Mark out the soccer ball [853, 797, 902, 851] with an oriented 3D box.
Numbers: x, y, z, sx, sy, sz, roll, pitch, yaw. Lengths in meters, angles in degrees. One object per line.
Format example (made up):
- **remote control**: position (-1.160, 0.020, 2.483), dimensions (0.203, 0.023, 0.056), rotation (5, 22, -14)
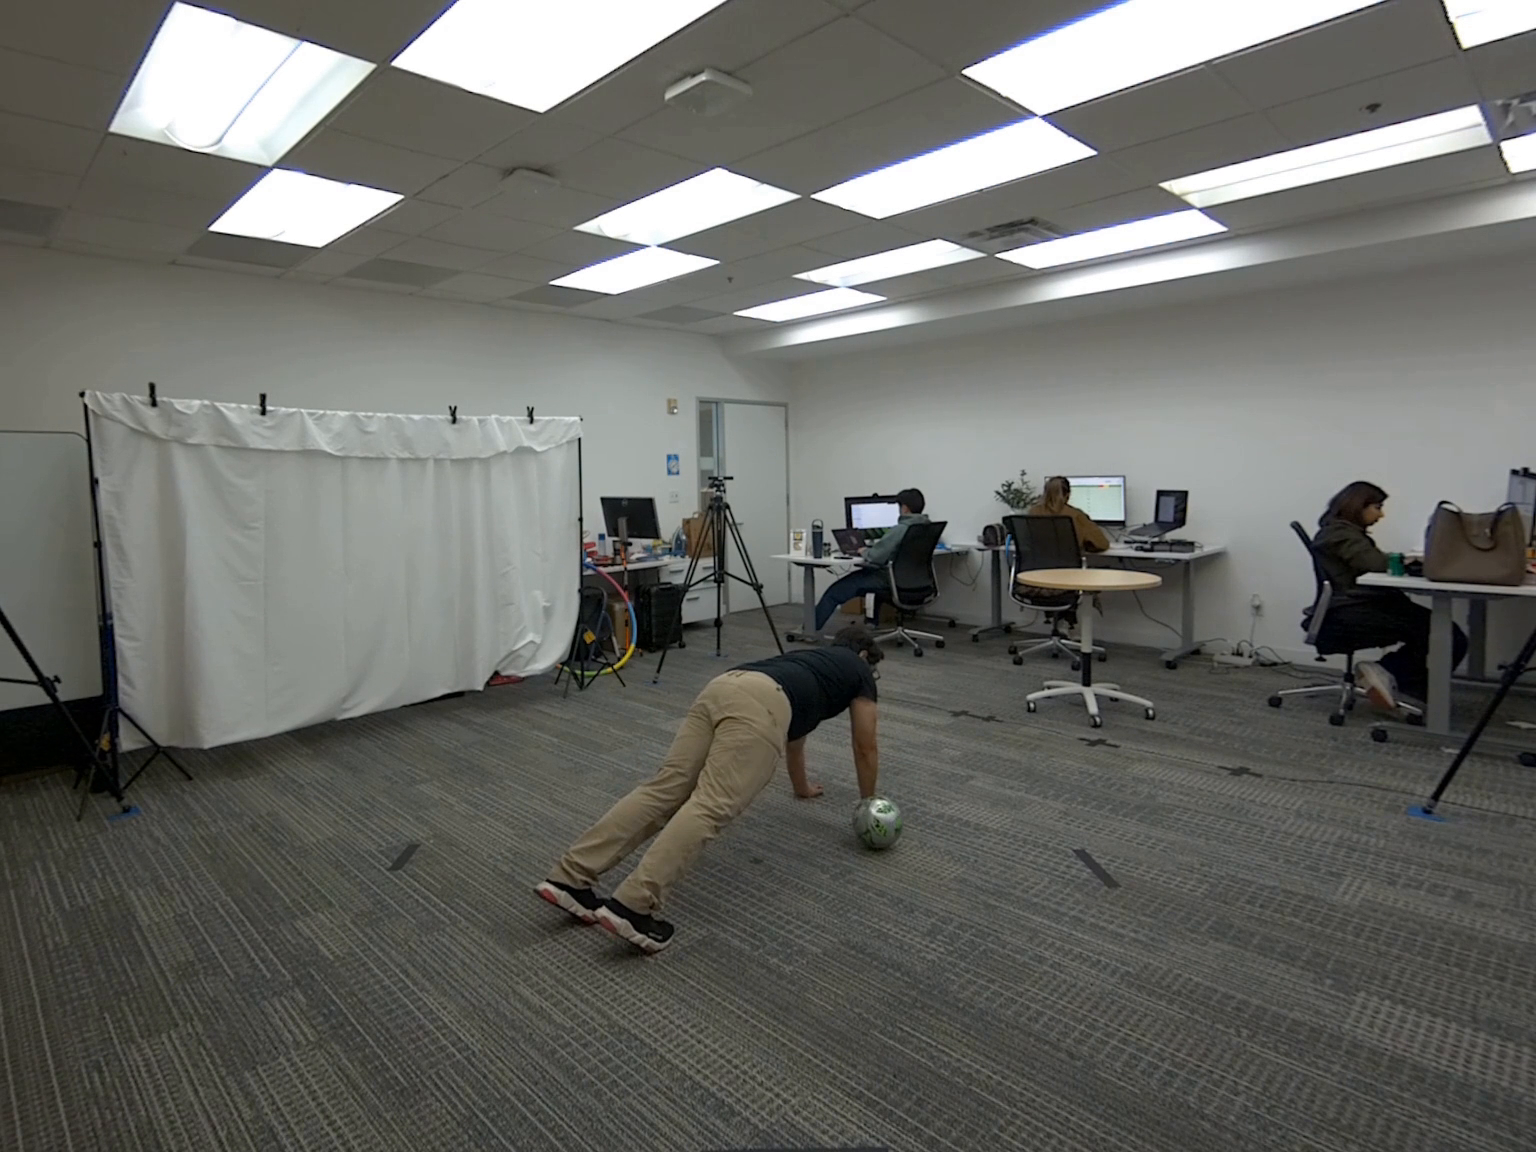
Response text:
- **soccer ball**: position (0.412, 0.924, 3.202), dimensions (0.187, 0.187, 0.188), rotation (-1, 5, -2)
